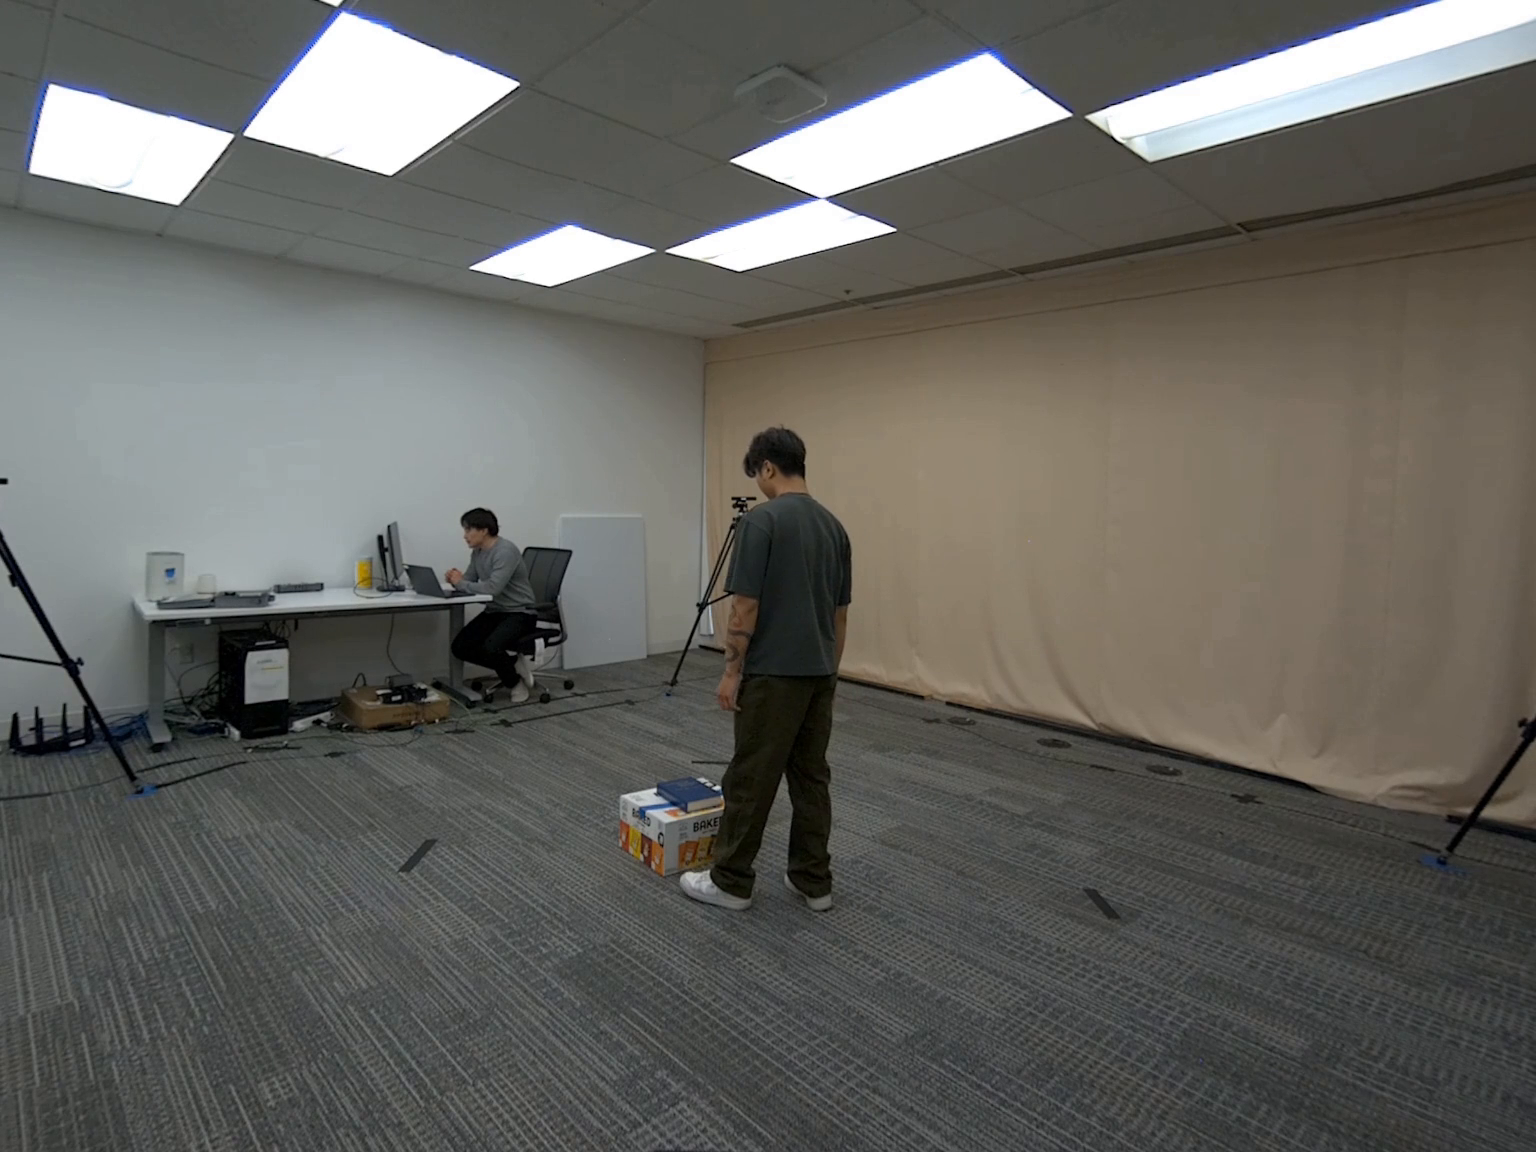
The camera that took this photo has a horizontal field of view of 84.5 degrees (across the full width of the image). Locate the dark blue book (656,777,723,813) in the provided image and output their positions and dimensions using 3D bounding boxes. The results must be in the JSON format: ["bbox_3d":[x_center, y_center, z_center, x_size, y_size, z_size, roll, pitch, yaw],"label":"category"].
[{"bbox_3d":[-0.323,0.869,3.335,0.160,0.045,0.251,-2,6,-35],"label":"dark blue book"}]
